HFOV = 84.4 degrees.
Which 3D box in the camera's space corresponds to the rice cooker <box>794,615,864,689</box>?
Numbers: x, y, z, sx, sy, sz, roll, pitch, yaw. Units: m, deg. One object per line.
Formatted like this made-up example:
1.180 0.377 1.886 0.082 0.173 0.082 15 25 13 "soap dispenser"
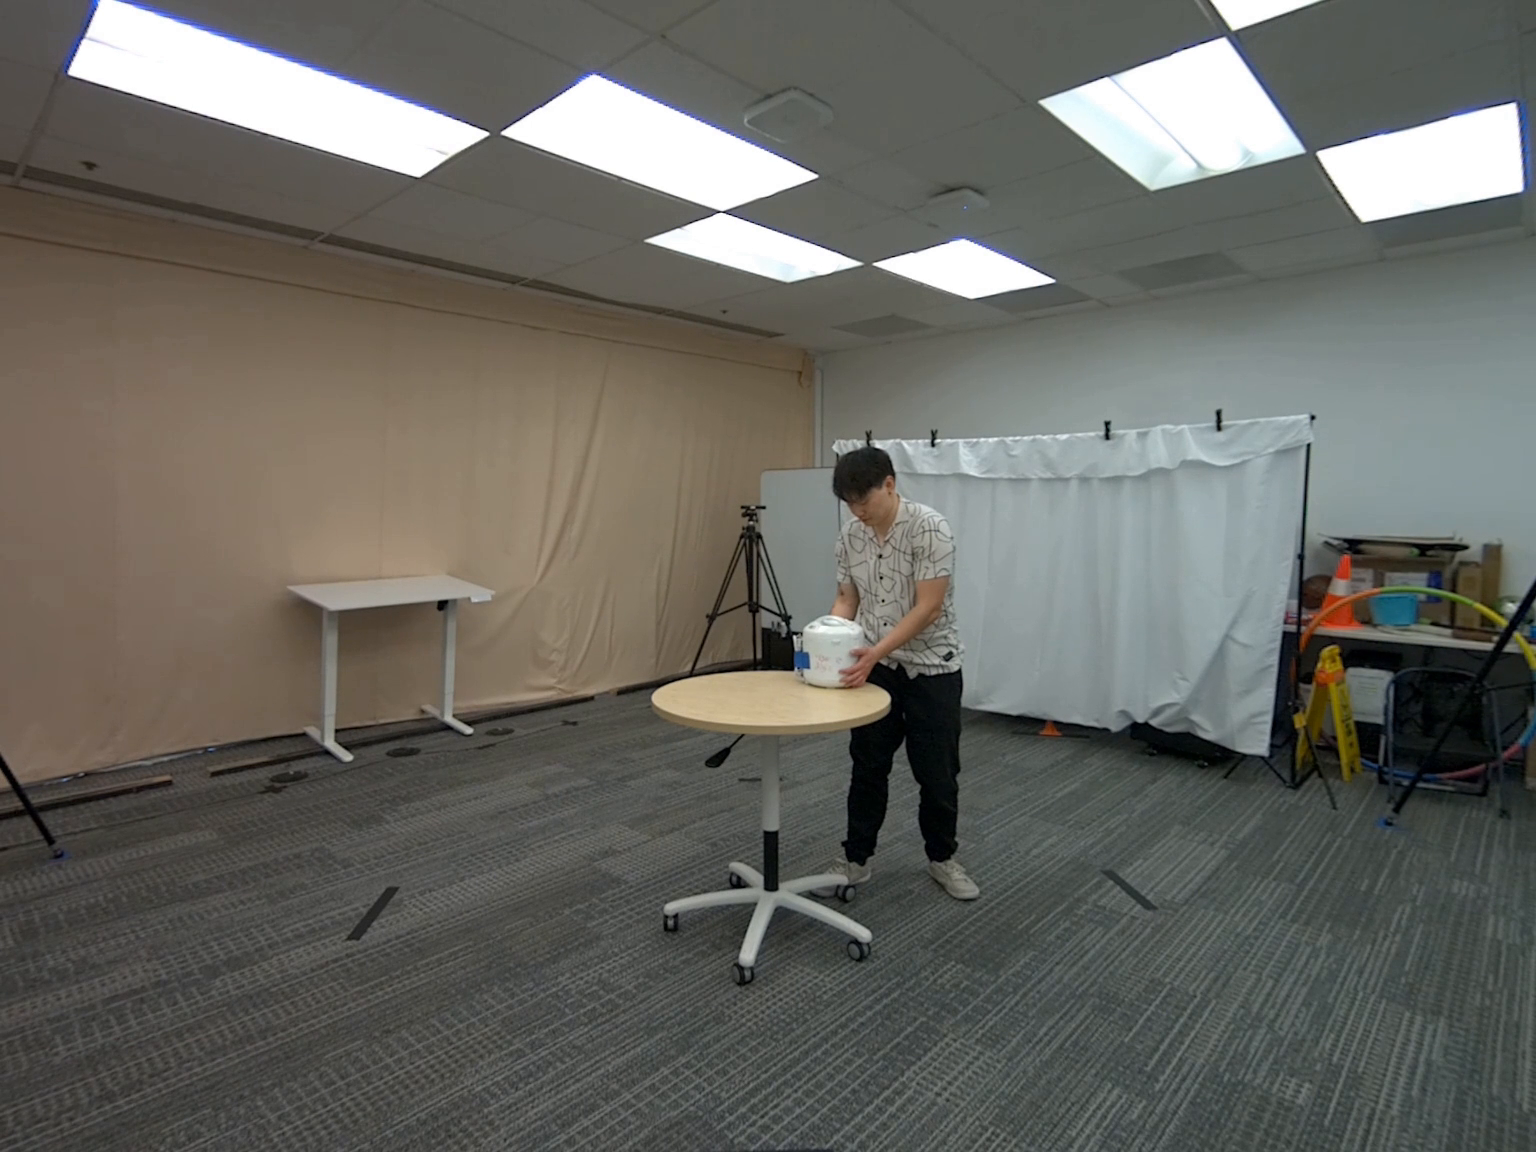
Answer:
0.224 0.253 2.876 0.211 0.232 0.228 -3 6 -39 "rice cooker"
